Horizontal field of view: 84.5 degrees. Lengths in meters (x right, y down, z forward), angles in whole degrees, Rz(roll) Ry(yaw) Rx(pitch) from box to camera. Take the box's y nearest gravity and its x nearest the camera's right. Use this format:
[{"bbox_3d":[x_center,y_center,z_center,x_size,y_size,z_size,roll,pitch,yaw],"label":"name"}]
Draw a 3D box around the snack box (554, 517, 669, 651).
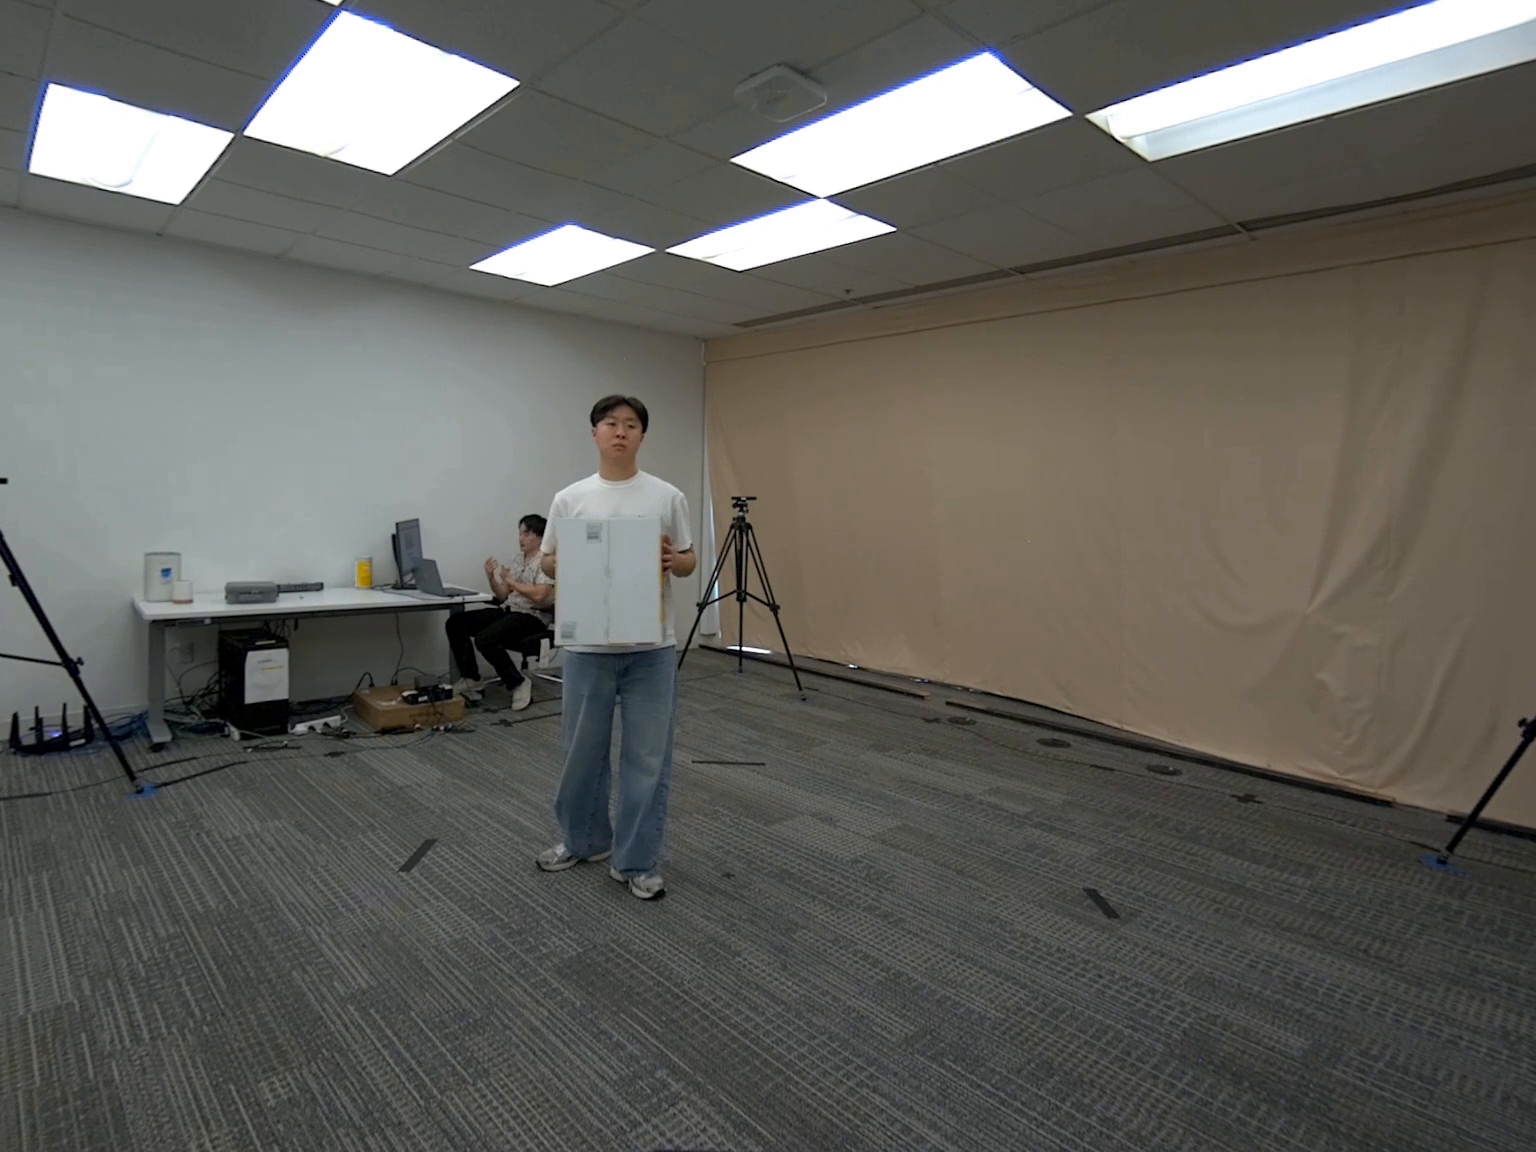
[{"bbox_3d":[-0.518,0.021,2.740,0.340,0.406,0.205,-1,-4,0],"label":"snack box"}]
